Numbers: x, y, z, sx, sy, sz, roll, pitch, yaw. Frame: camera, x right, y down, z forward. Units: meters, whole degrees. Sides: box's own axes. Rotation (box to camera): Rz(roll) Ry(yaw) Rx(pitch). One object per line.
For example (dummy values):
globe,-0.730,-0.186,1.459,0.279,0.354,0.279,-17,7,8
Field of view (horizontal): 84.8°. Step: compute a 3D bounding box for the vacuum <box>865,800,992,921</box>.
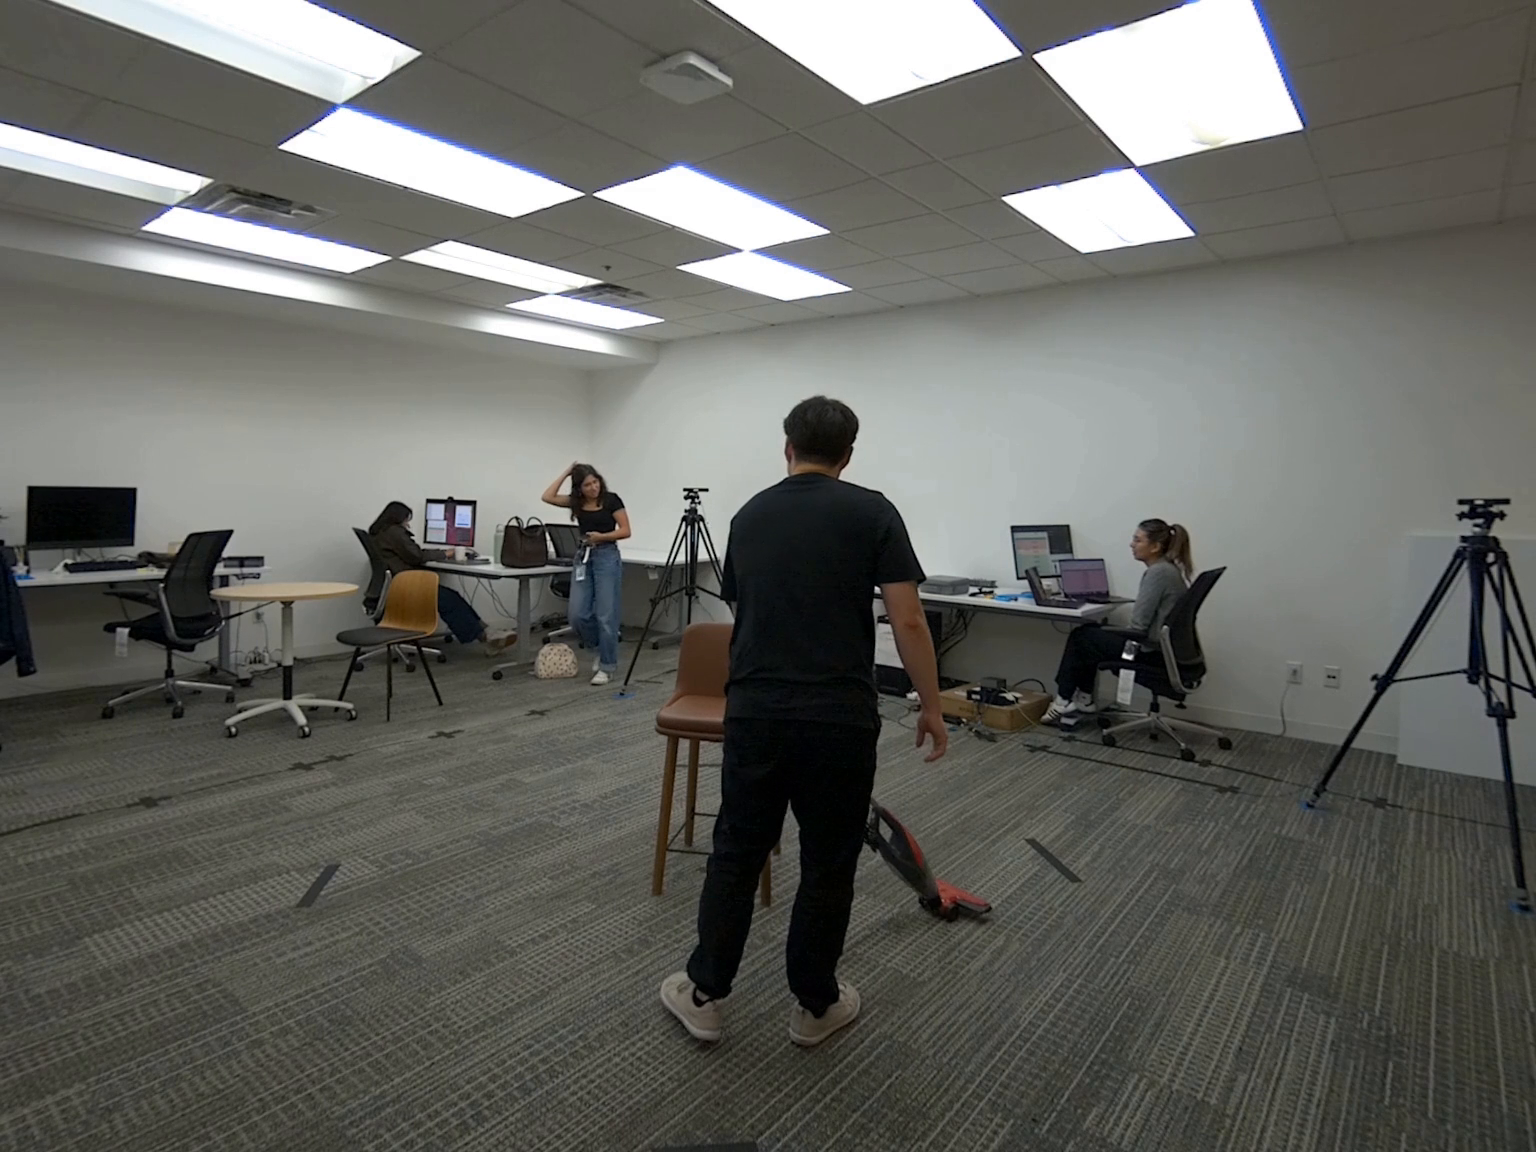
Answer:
vacuum,0.314,0.750,2.622,1.014,0.144,0.261,50,-23,-27
